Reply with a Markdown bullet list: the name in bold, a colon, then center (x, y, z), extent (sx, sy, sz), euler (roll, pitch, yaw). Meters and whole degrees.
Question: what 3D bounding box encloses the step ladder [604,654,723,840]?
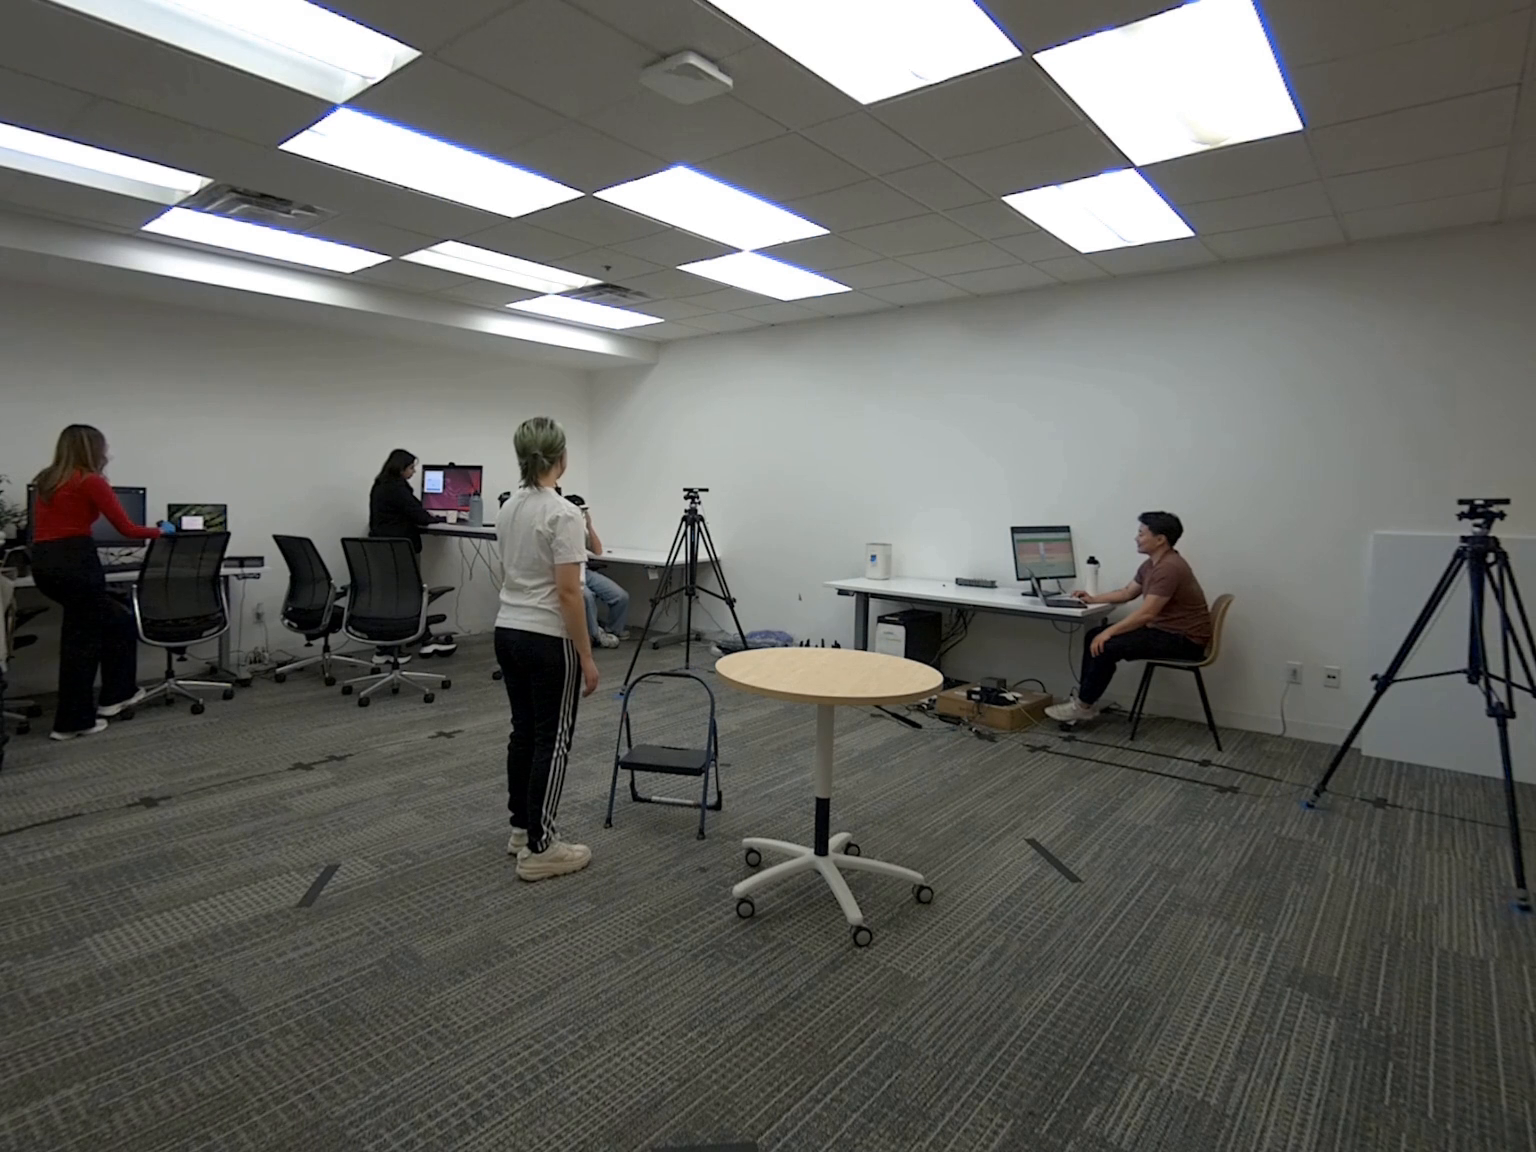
- **step ladder**: center (-0.436, 0.717, 3.575), extent (0.437, 0.604, 0.345), euler (2, 4, 13)
